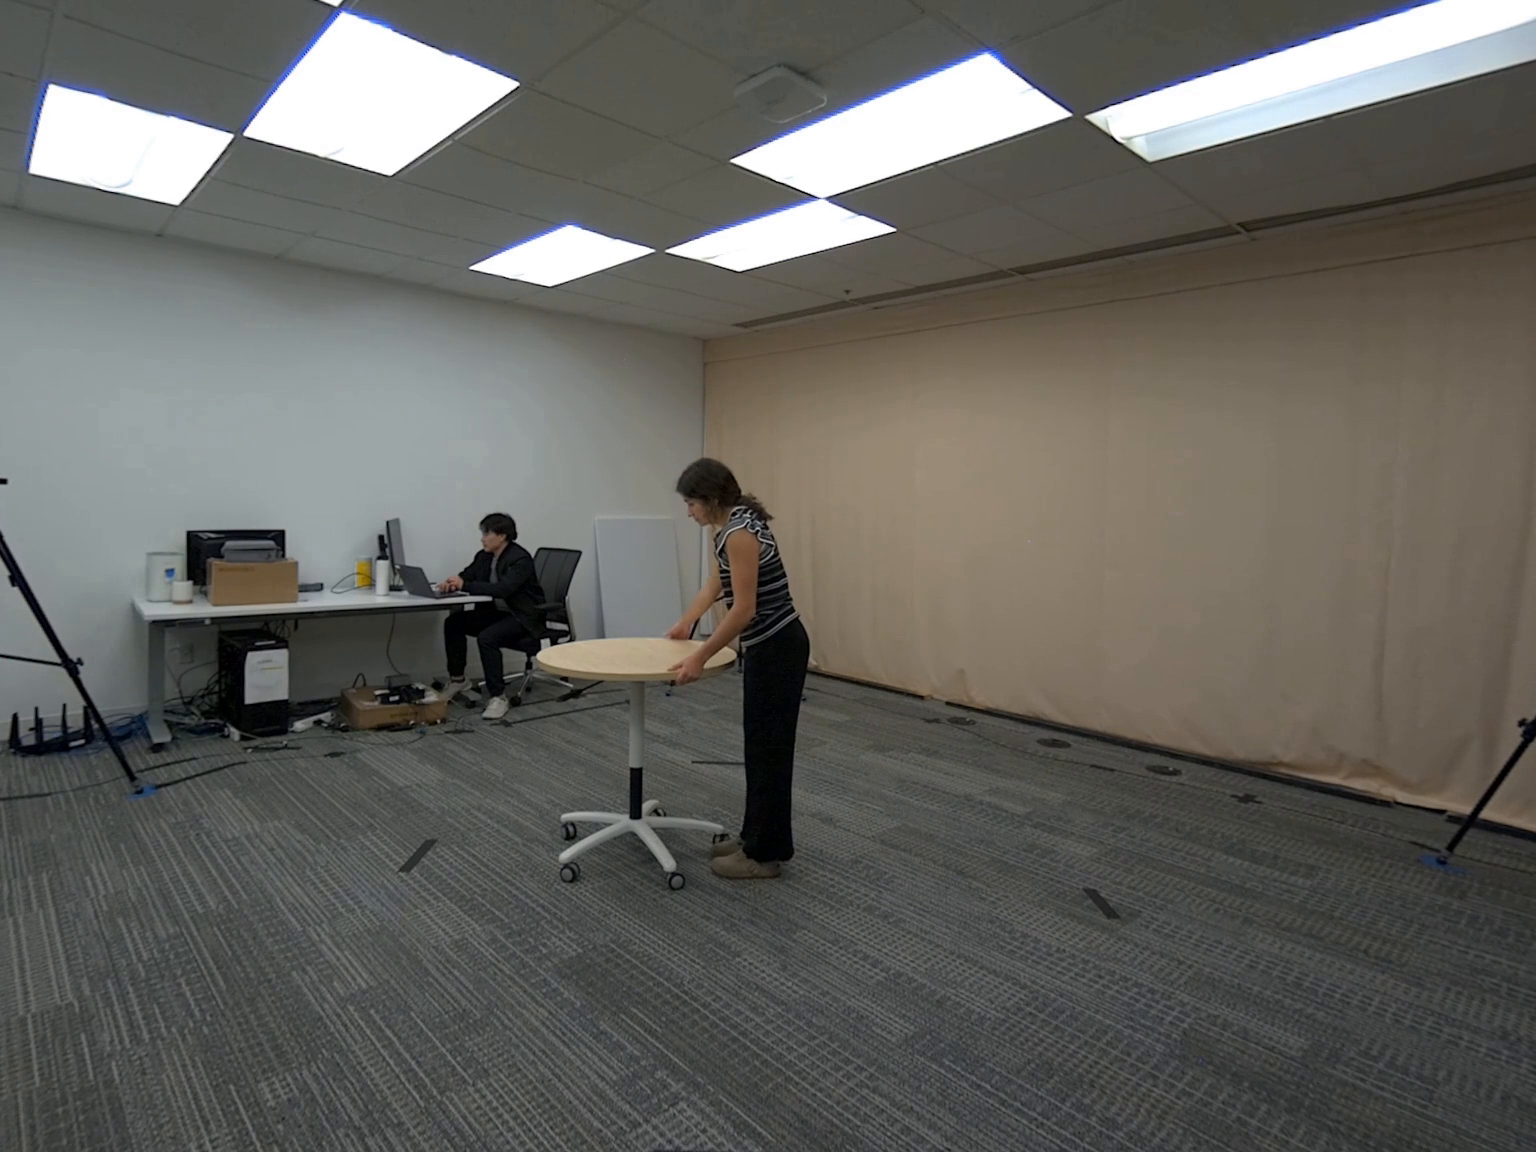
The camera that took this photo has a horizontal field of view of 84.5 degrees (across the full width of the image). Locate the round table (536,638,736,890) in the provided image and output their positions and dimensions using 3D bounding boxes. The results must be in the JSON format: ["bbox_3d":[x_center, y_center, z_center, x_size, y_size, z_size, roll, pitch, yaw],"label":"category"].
[{"bbox_3d":[-0.509,0.691,3.269,0.763,0.792,0.766,1,4,-1],"label":"round table"}]
